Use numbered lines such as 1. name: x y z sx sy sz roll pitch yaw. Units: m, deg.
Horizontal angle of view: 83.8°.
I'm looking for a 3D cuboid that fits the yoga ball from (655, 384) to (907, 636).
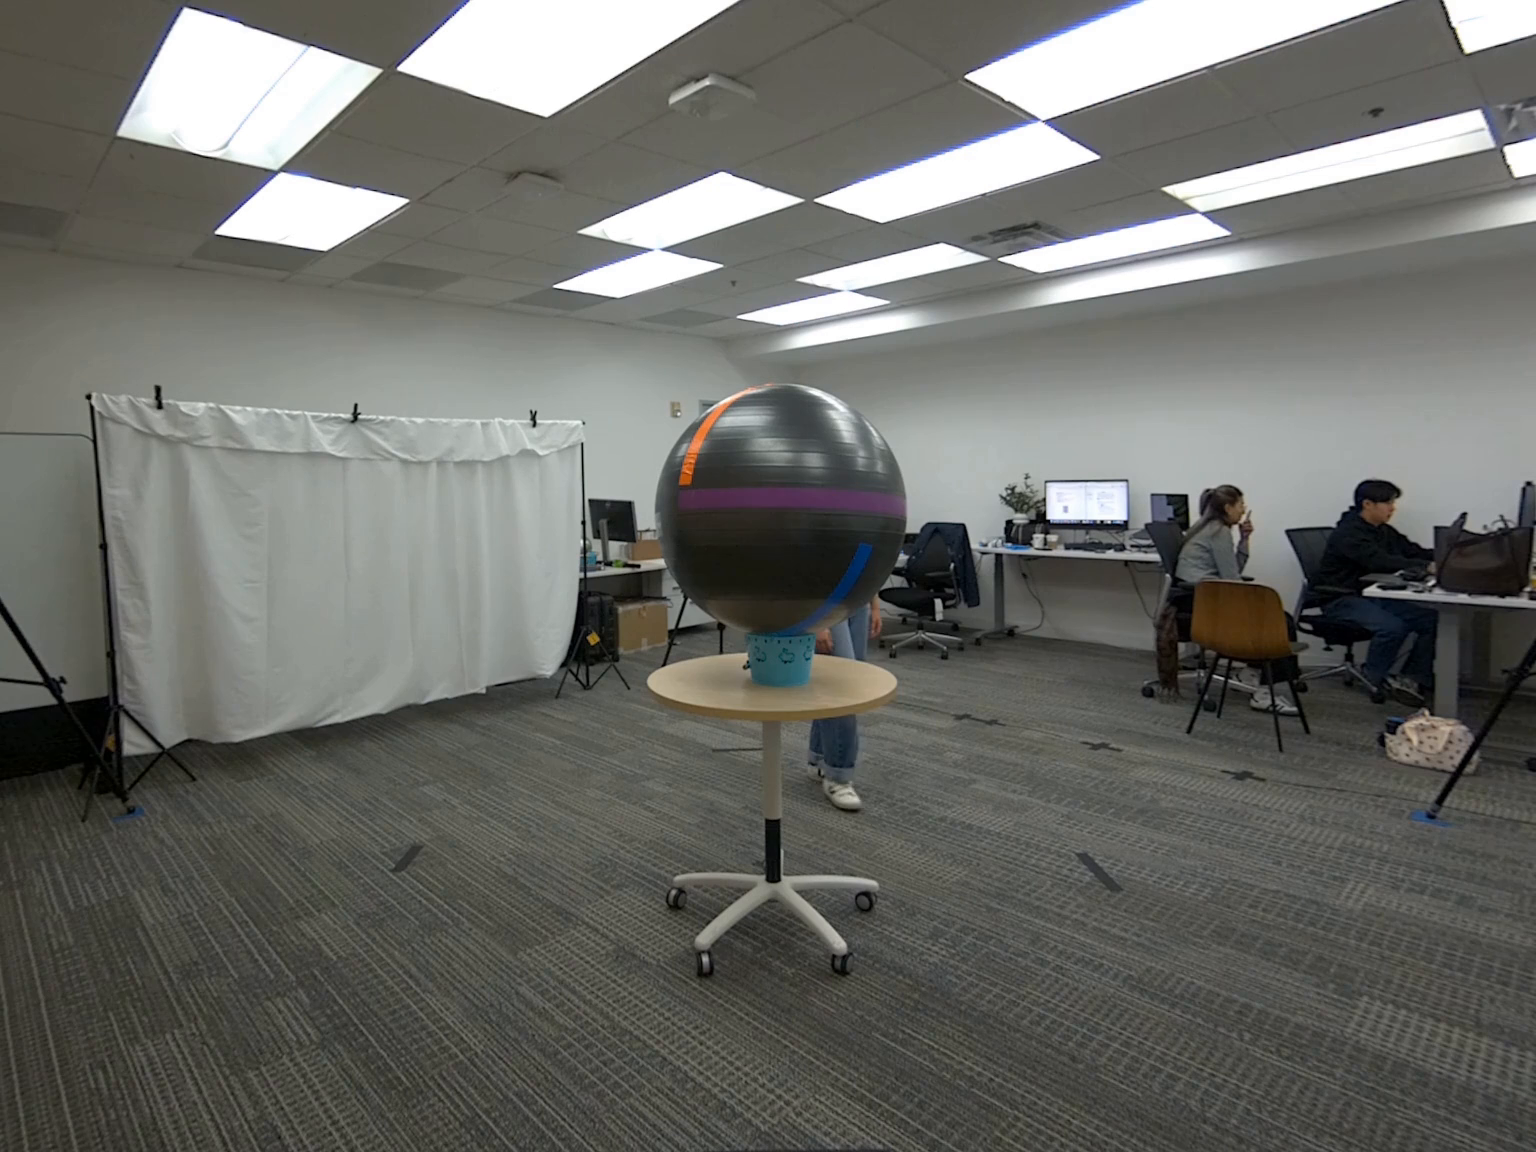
1. yoga ball: 0.034 -0.190 2.577 0.757 0.755 0.762 -1 5 -2
